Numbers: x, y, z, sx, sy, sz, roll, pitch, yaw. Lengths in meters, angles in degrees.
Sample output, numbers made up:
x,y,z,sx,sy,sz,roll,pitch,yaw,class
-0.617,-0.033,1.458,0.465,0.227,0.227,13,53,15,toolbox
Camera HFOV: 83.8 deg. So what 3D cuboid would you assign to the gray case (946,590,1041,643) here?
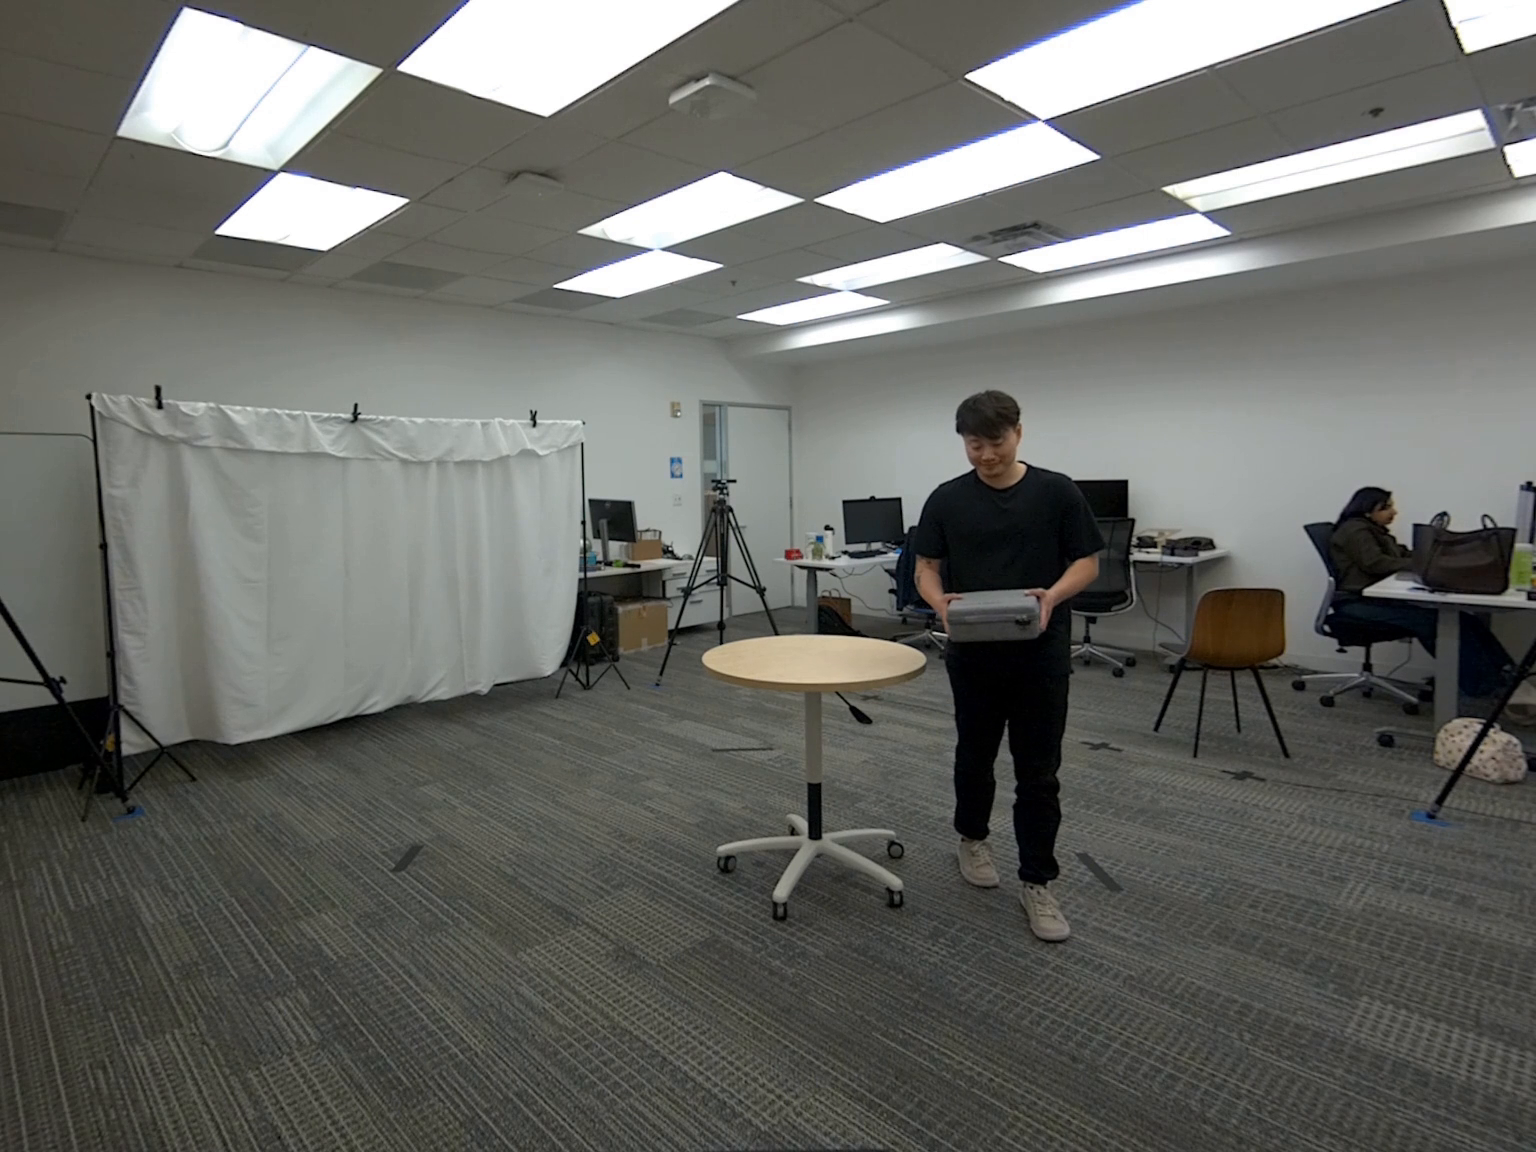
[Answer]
x,y,z,sx,sy,sz,roll,pitch,yaw,class
0.695,0.119,2.522,0.262,0.104,0.257,-3,8,22,gray case
